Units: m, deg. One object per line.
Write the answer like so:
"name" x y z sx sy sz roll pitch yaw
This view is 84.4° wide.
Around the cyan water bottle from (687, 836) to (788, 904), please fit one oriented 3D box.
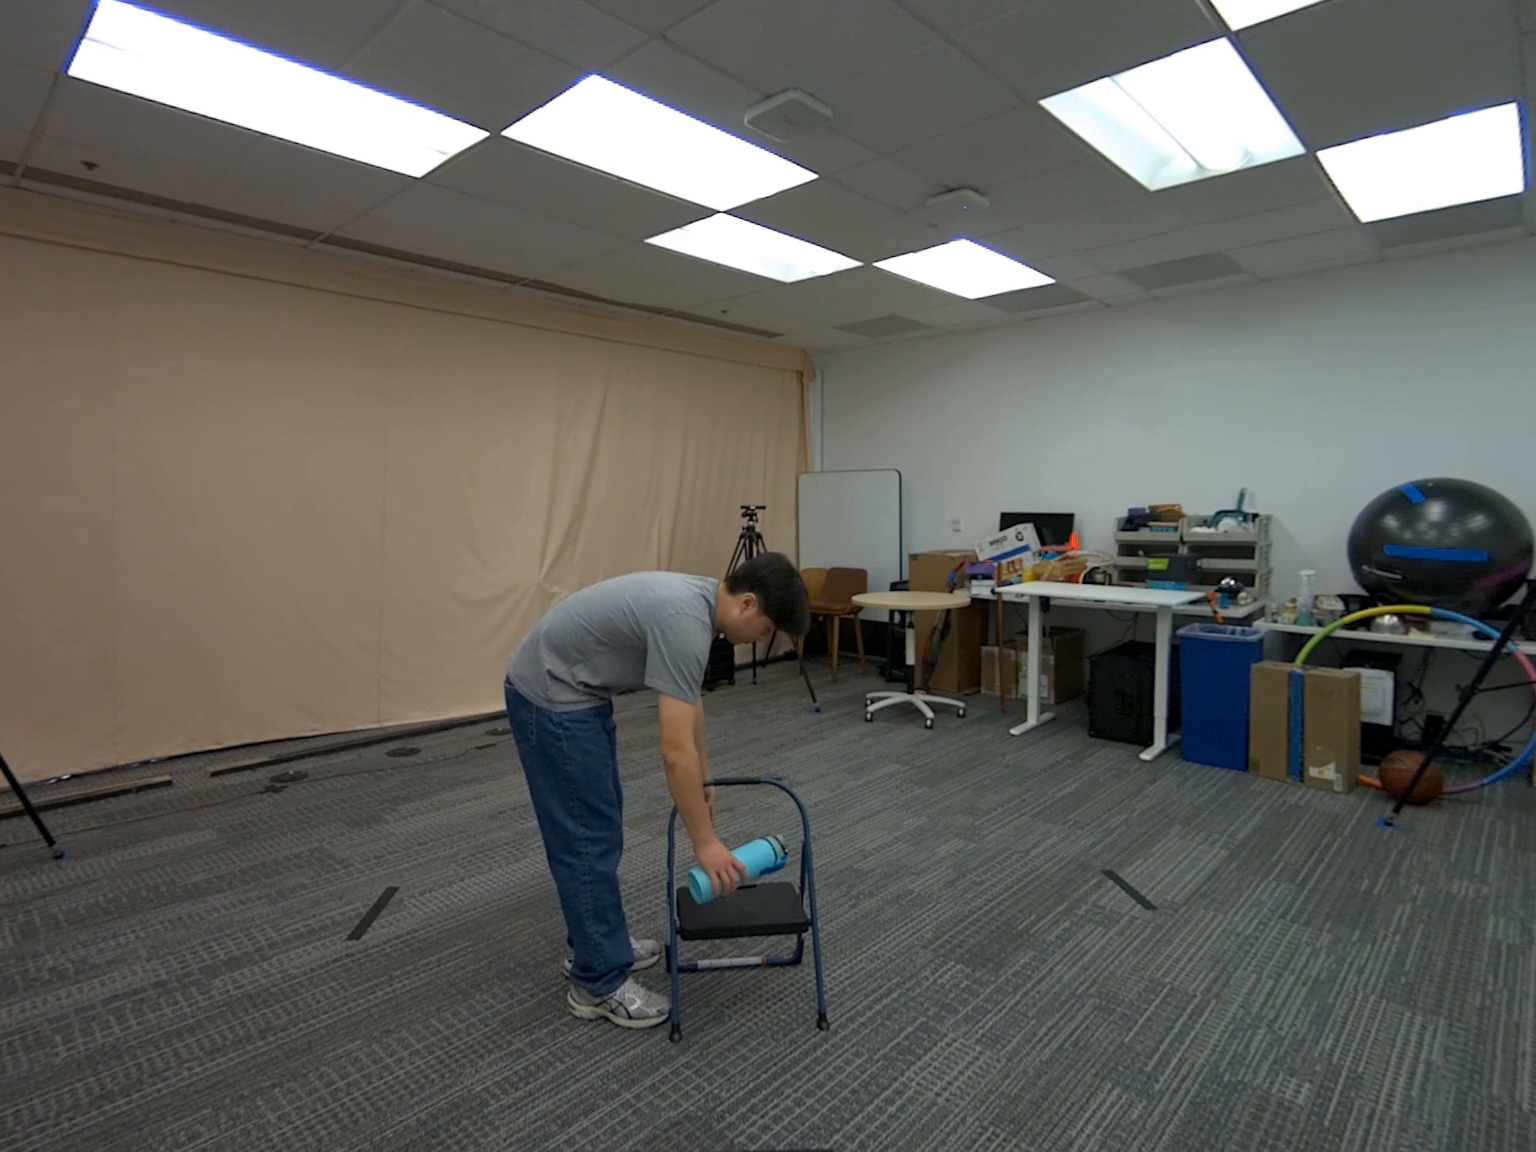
"cyan water bottle" -0.067 0.757 2.234 0.277 0.092 0.095 -14 10 -26
